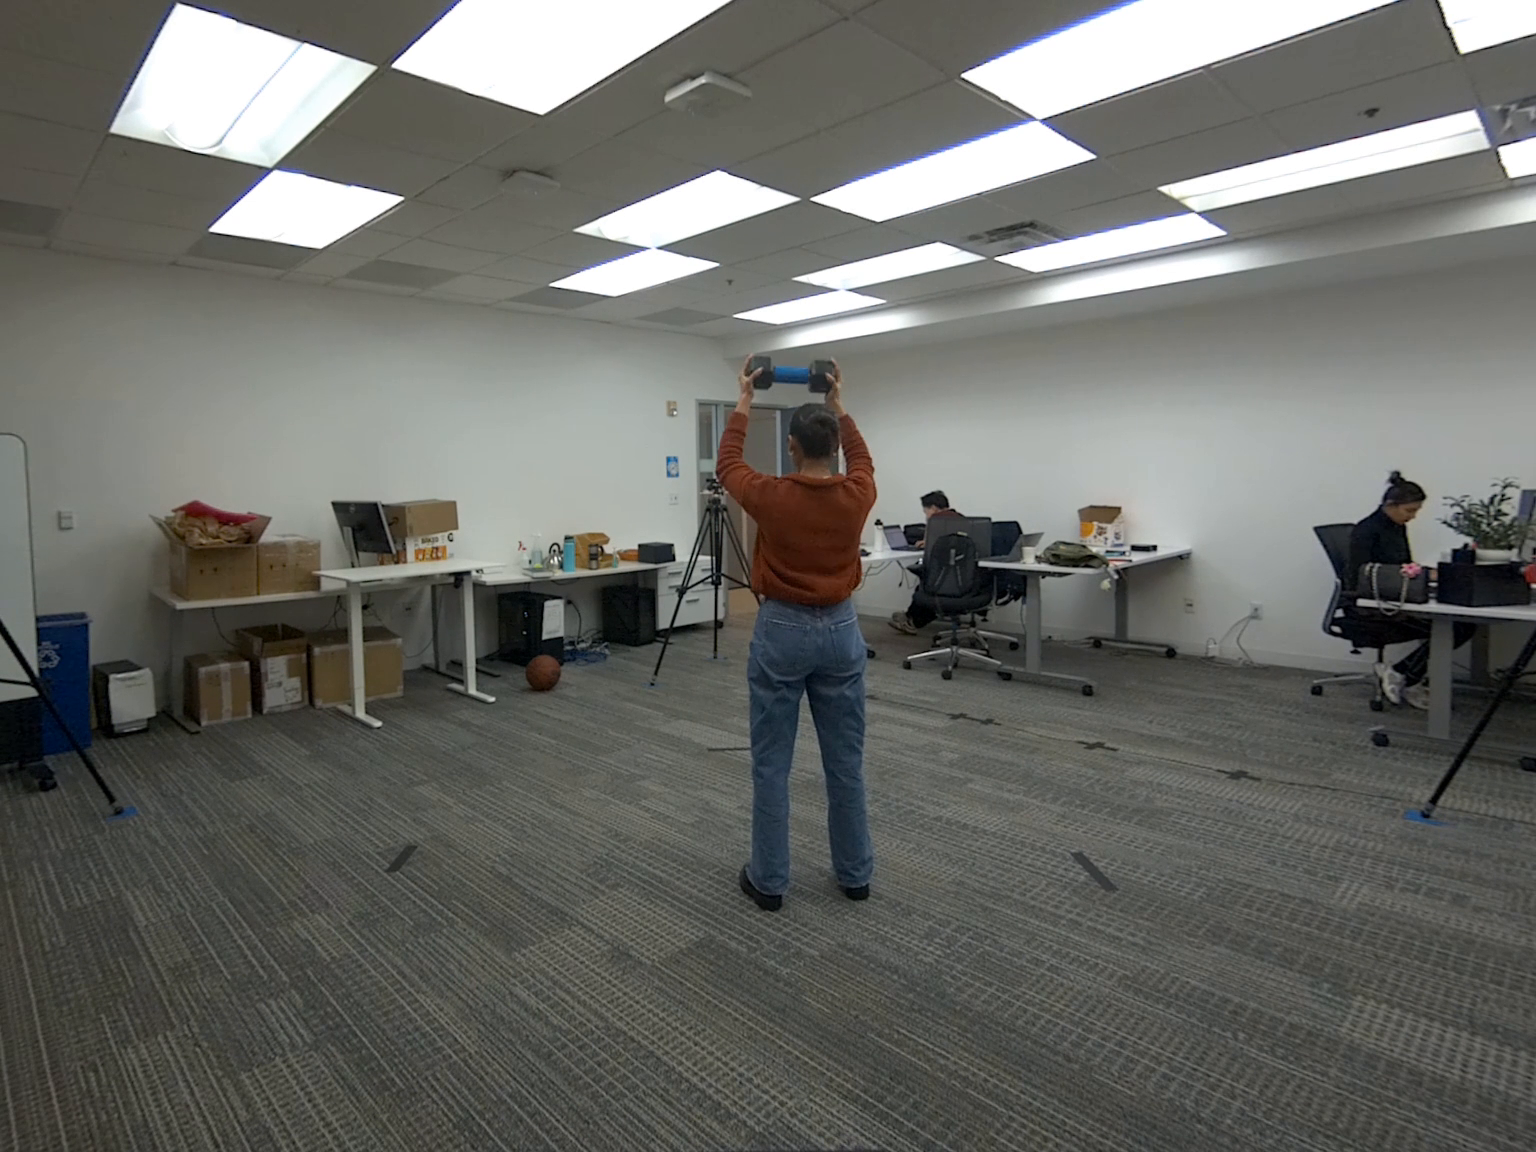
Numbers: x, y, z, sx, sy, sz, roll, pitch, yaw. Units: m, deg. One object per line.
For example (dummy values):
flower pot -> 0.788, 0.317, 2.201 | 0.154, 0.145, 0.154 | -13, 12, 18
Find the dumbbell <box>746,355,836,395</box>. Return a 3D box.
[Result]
dumbbell -> 0.090, -0.694, 2.973 | 0.293, 0.120, 0.111 | 3, 31, -2
